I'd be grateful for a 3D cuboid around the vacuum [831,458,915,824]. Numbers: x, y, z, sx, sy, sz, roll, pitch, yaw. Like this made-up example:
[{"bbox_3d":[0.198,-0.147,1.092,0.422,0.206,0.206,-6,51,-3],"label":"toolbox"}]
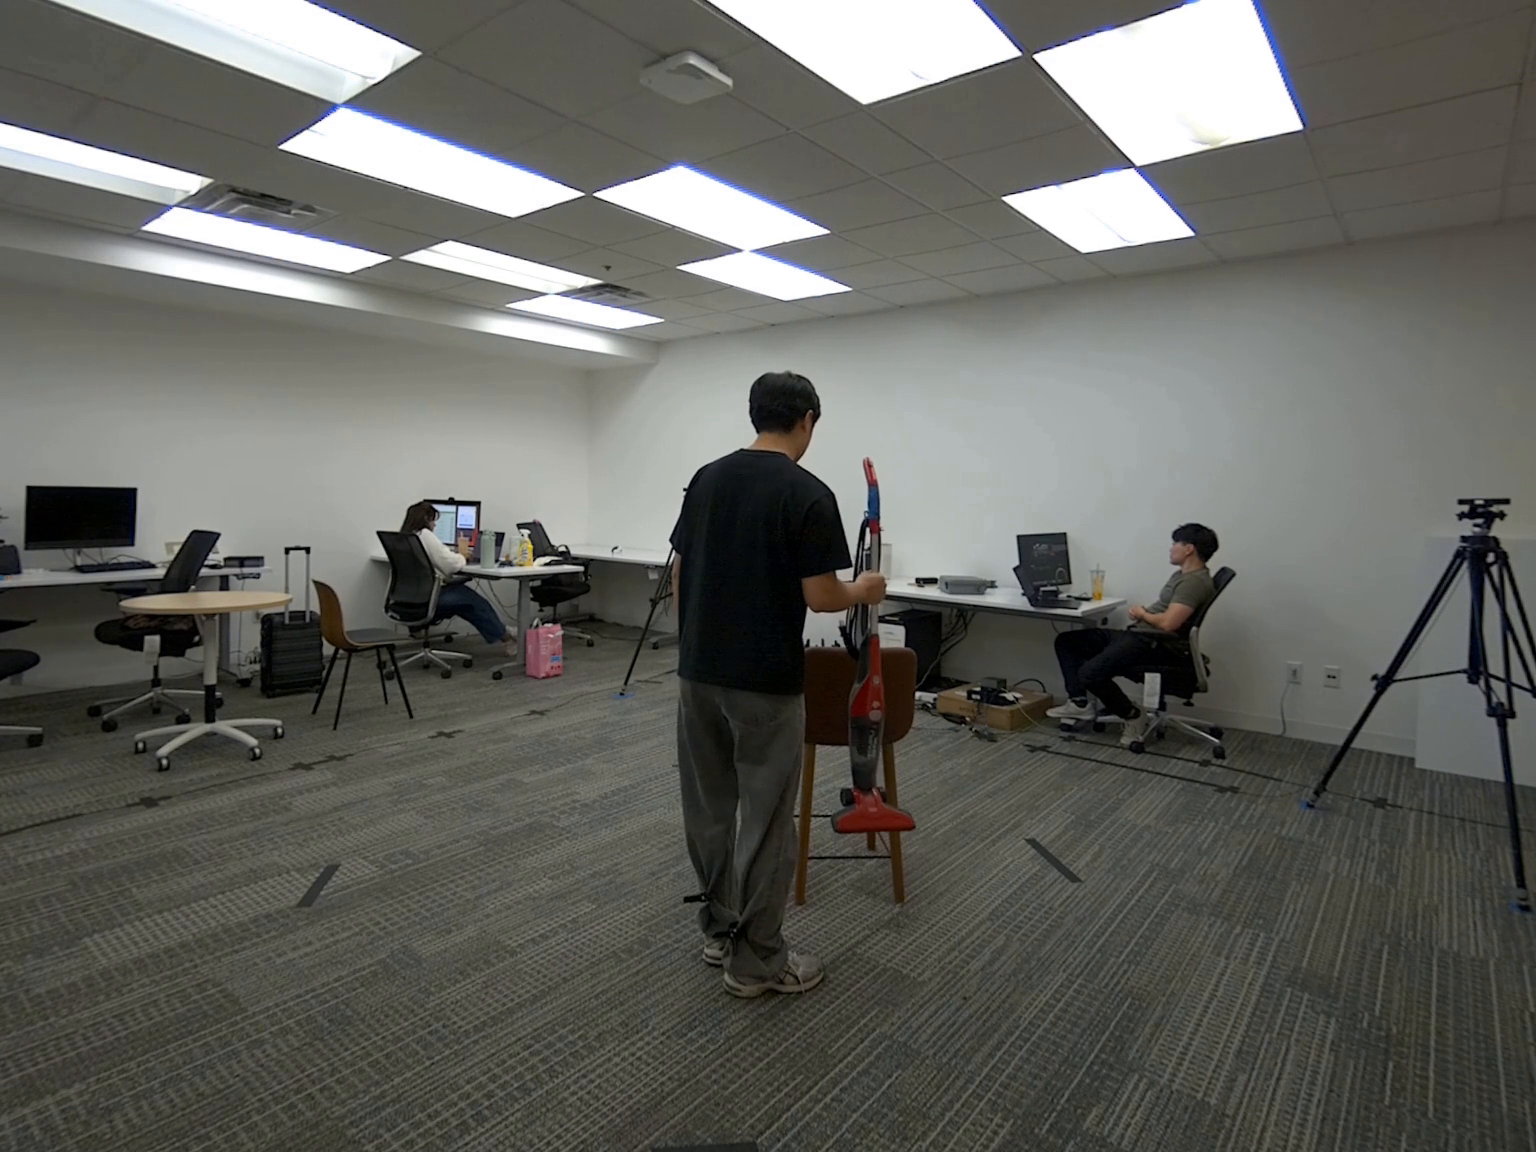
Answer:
[{"bbox_3d":[0.297,0.168,2.565,0.247,1.056,0.146,3,-7,-19],"label":"vacuum"}]
